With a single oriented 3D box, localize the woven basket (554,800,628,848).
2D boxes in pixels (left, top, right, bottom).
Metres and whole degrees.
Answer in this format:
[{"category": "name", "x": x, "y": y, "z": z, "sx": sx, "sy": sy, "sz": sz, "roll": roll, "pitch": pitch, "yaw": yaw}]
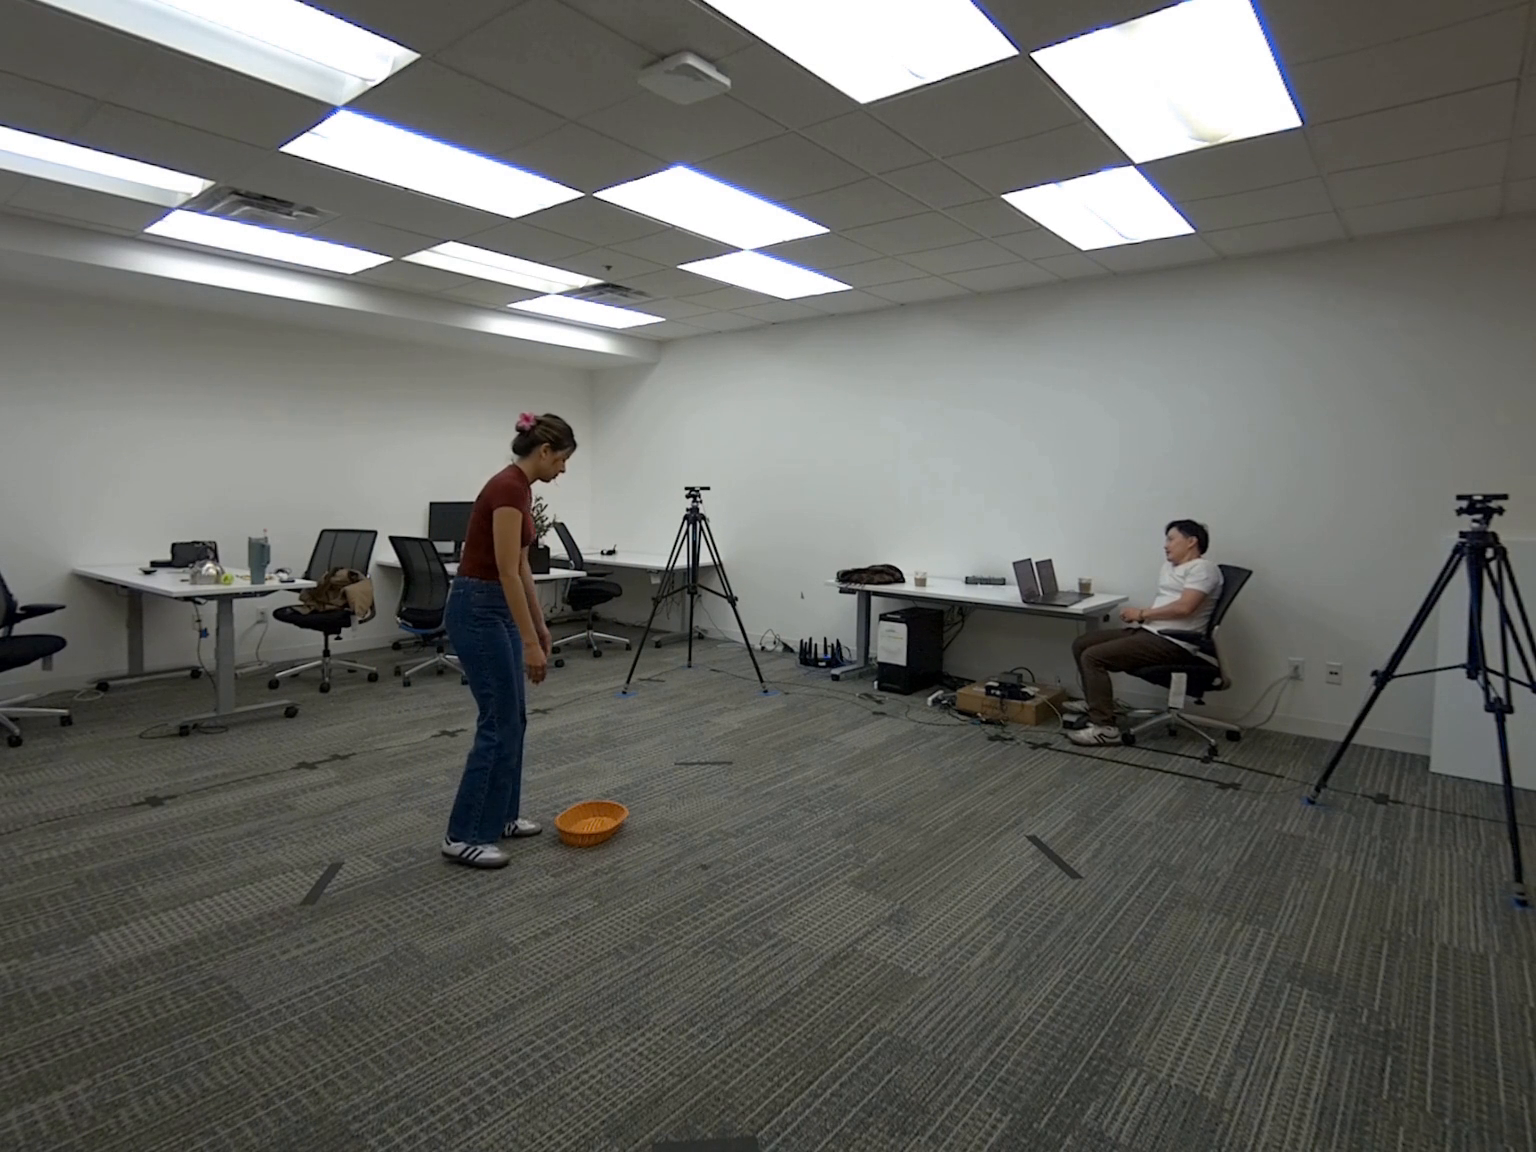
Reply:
[{"category": "woven basket", "x": -0.714, "y": 0.993, "z": 3.410, "sx": 0.259, "sy": 0.073, "sz": 0.343, "roll": 5, "pitch": 6, "yaw": 22}]
